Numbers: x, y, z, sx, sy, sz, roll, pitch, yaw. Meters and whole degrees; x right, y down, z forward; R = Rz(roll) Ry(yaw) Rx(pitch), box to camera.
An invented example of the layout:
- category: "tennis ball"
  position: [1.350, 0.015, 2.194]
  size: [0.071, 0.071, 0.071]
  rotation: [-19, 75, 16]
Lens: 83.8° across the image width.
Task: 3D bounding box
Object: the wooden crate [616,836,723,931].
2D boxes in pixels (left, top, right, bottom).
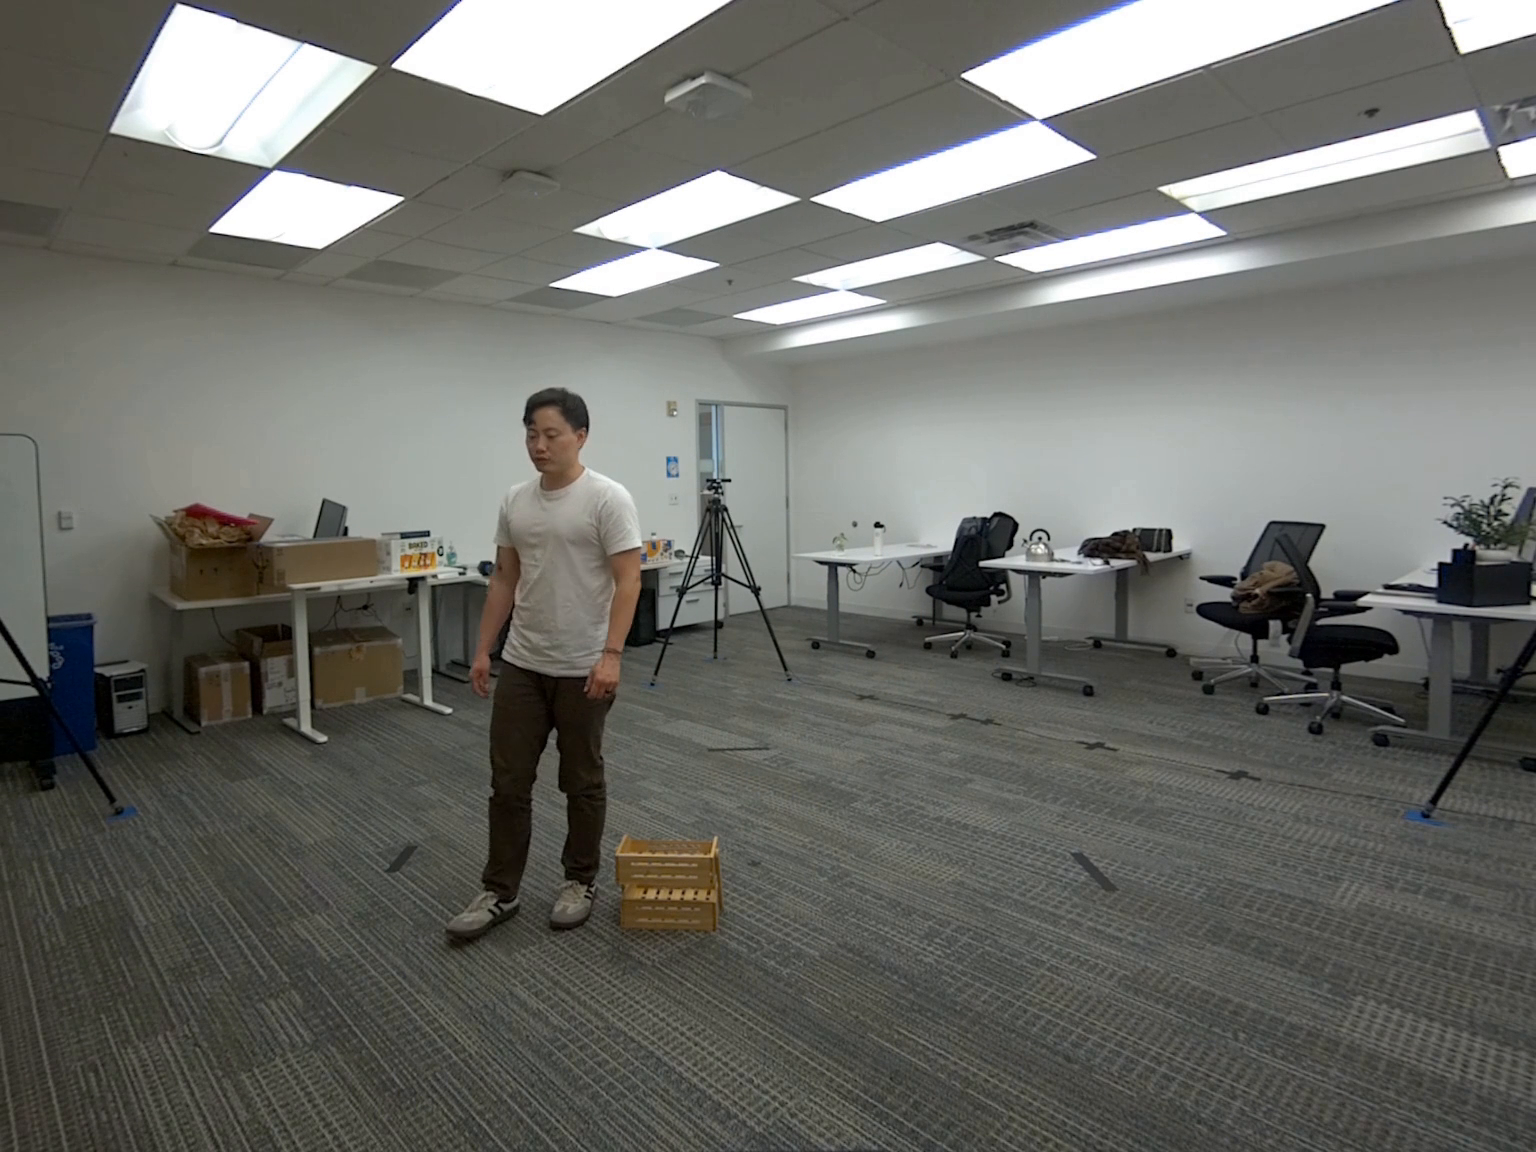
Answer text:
- category: "wooden crate"
  position: [-0.309, 0.951, 2.755]
  size: [0.326, 0.272, 0.302]
  rotation: [0, 6, 3]
